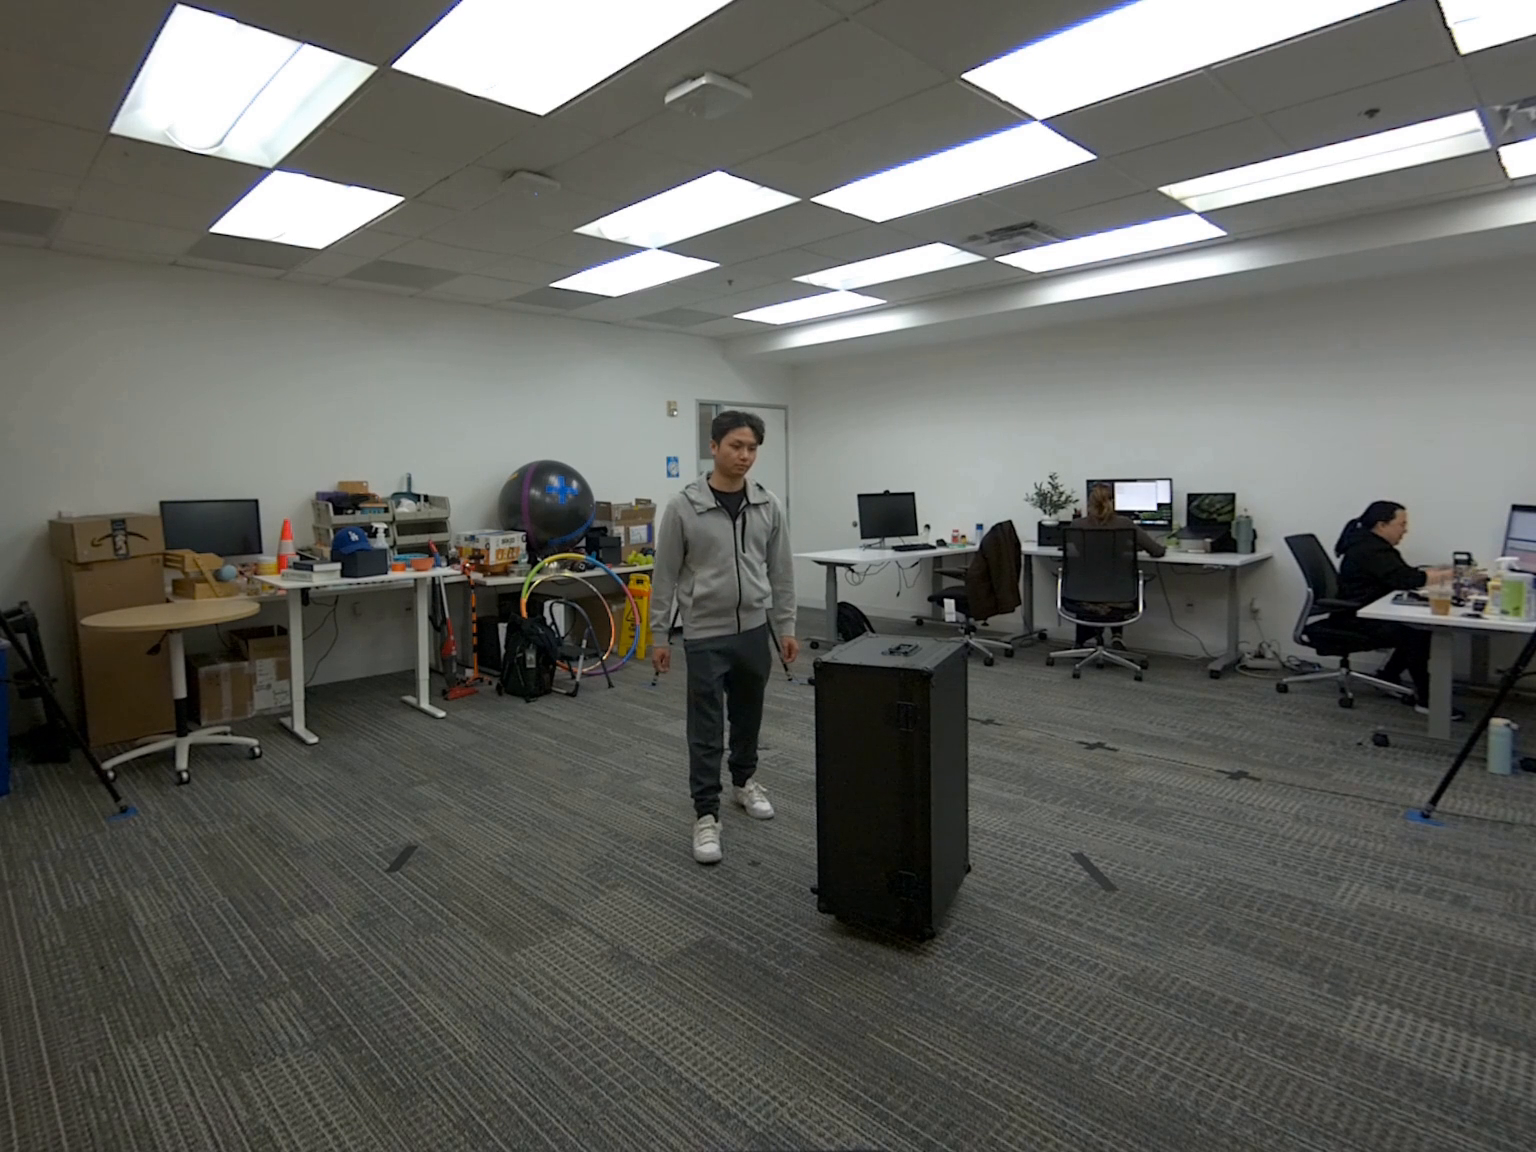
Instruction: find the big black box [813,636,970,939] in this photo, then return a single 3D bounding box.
[{"bbox_3d":[0.400,0.656,2.717,0.406,0.859,0.510,0,4,27],"label":"big black box"}]
